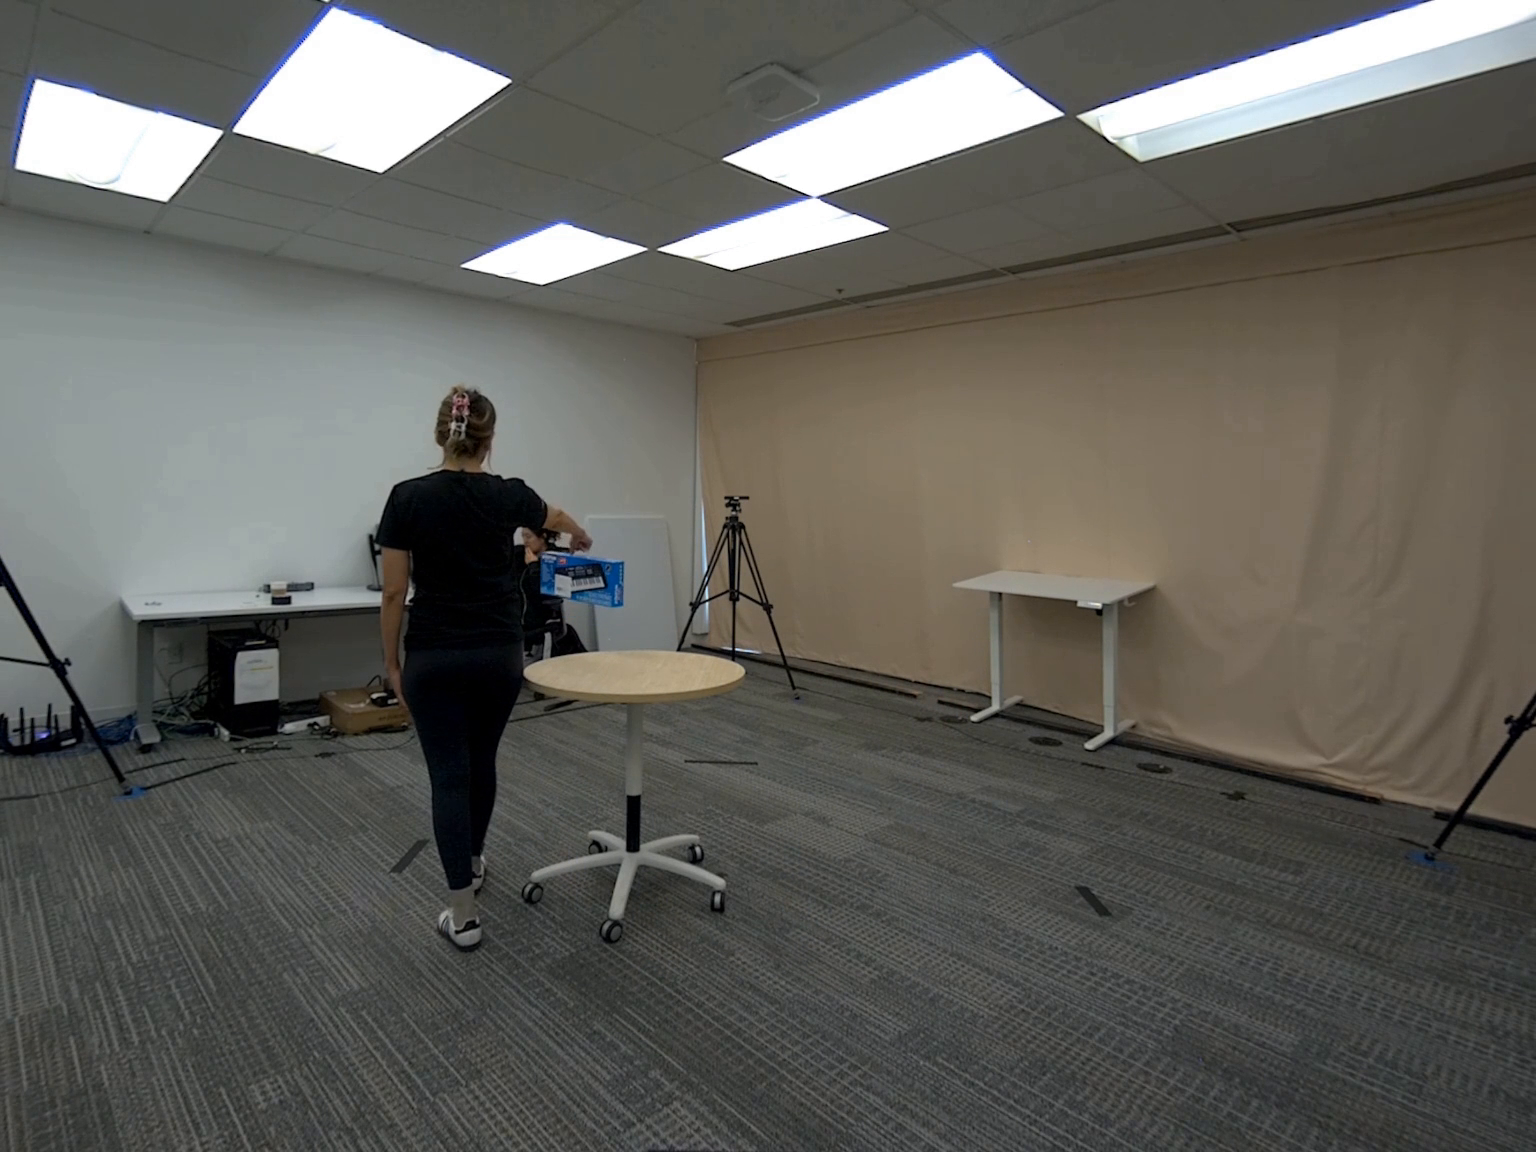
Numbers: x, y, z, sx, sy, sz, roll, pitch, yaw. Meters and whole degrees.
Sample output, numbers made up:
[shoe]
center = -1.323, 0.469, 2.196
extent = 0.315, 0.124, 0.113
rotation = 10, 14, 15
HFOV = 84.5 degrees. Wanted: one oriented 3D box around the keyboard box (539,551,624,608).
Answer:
[keyboard box]
center = -0.741, 0.011, 3.293
extent = 0.448, 0.175, 0.058
rotation = 8, 7, 39
